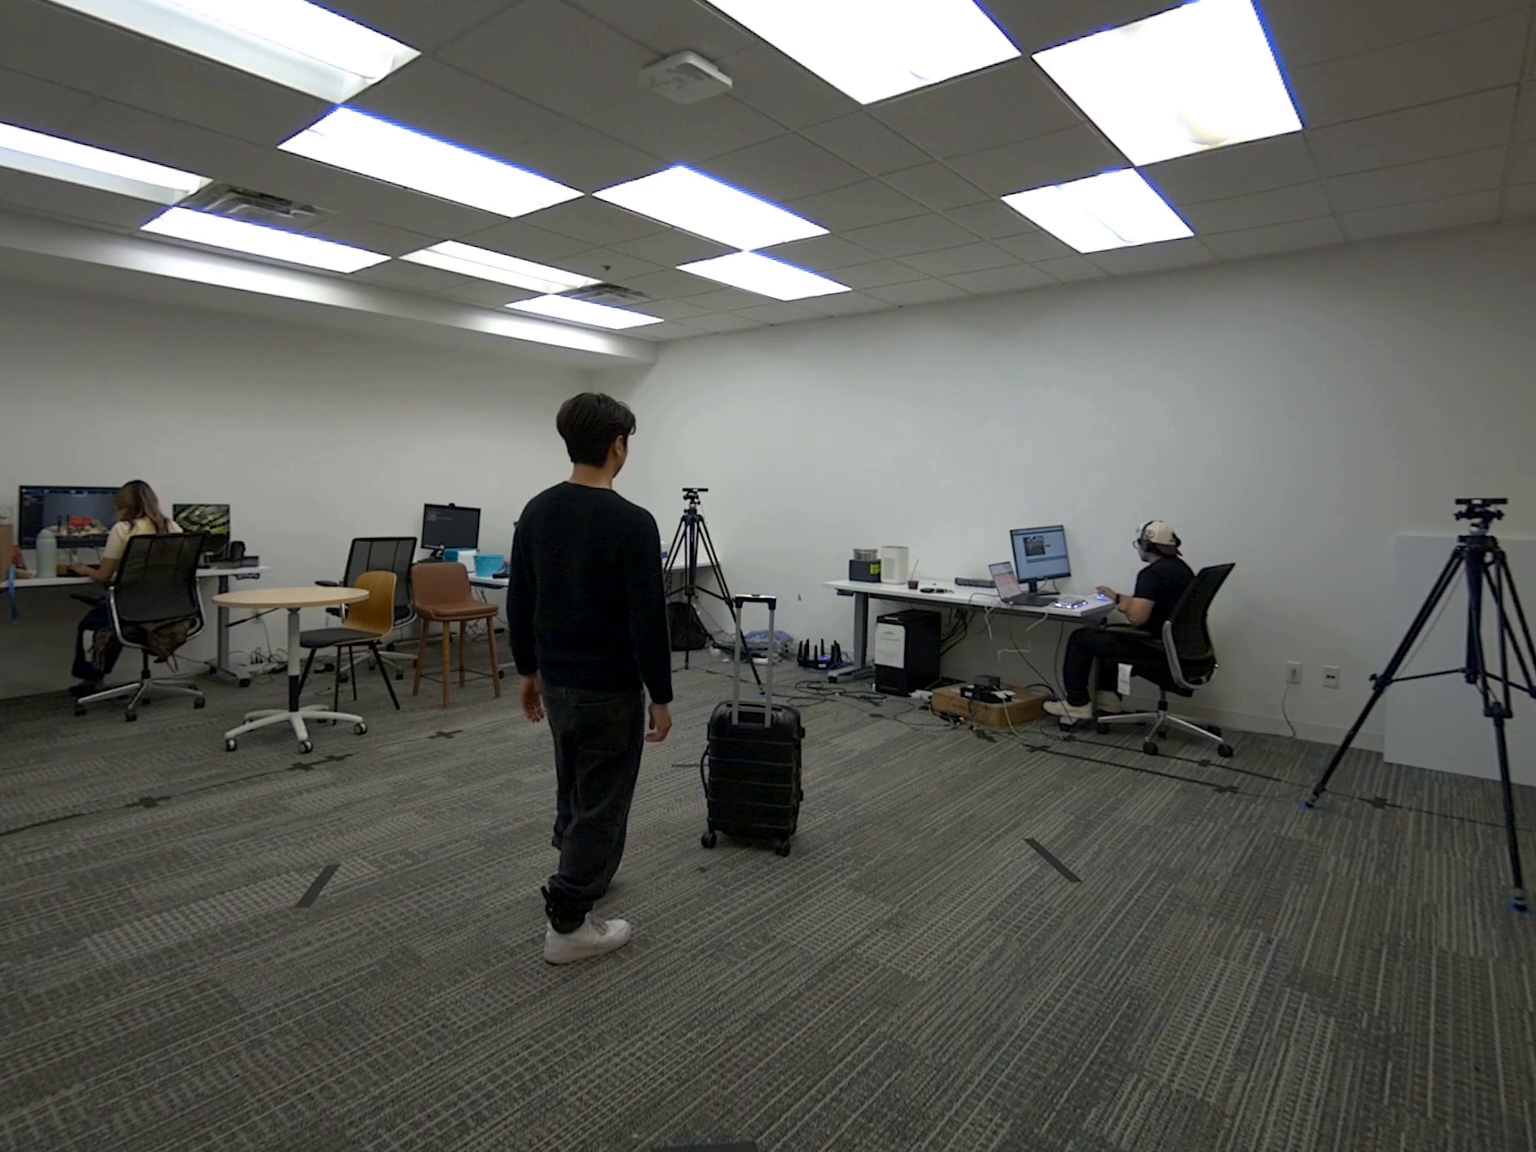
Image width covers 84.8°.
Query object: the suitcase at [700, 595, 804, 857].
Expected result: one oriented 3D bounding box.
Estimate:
[{"bbox_3d":[-0.060,0.568,3.390,0.389,0.979,0.254,2,-1,10],"label":"suitcase"}]
